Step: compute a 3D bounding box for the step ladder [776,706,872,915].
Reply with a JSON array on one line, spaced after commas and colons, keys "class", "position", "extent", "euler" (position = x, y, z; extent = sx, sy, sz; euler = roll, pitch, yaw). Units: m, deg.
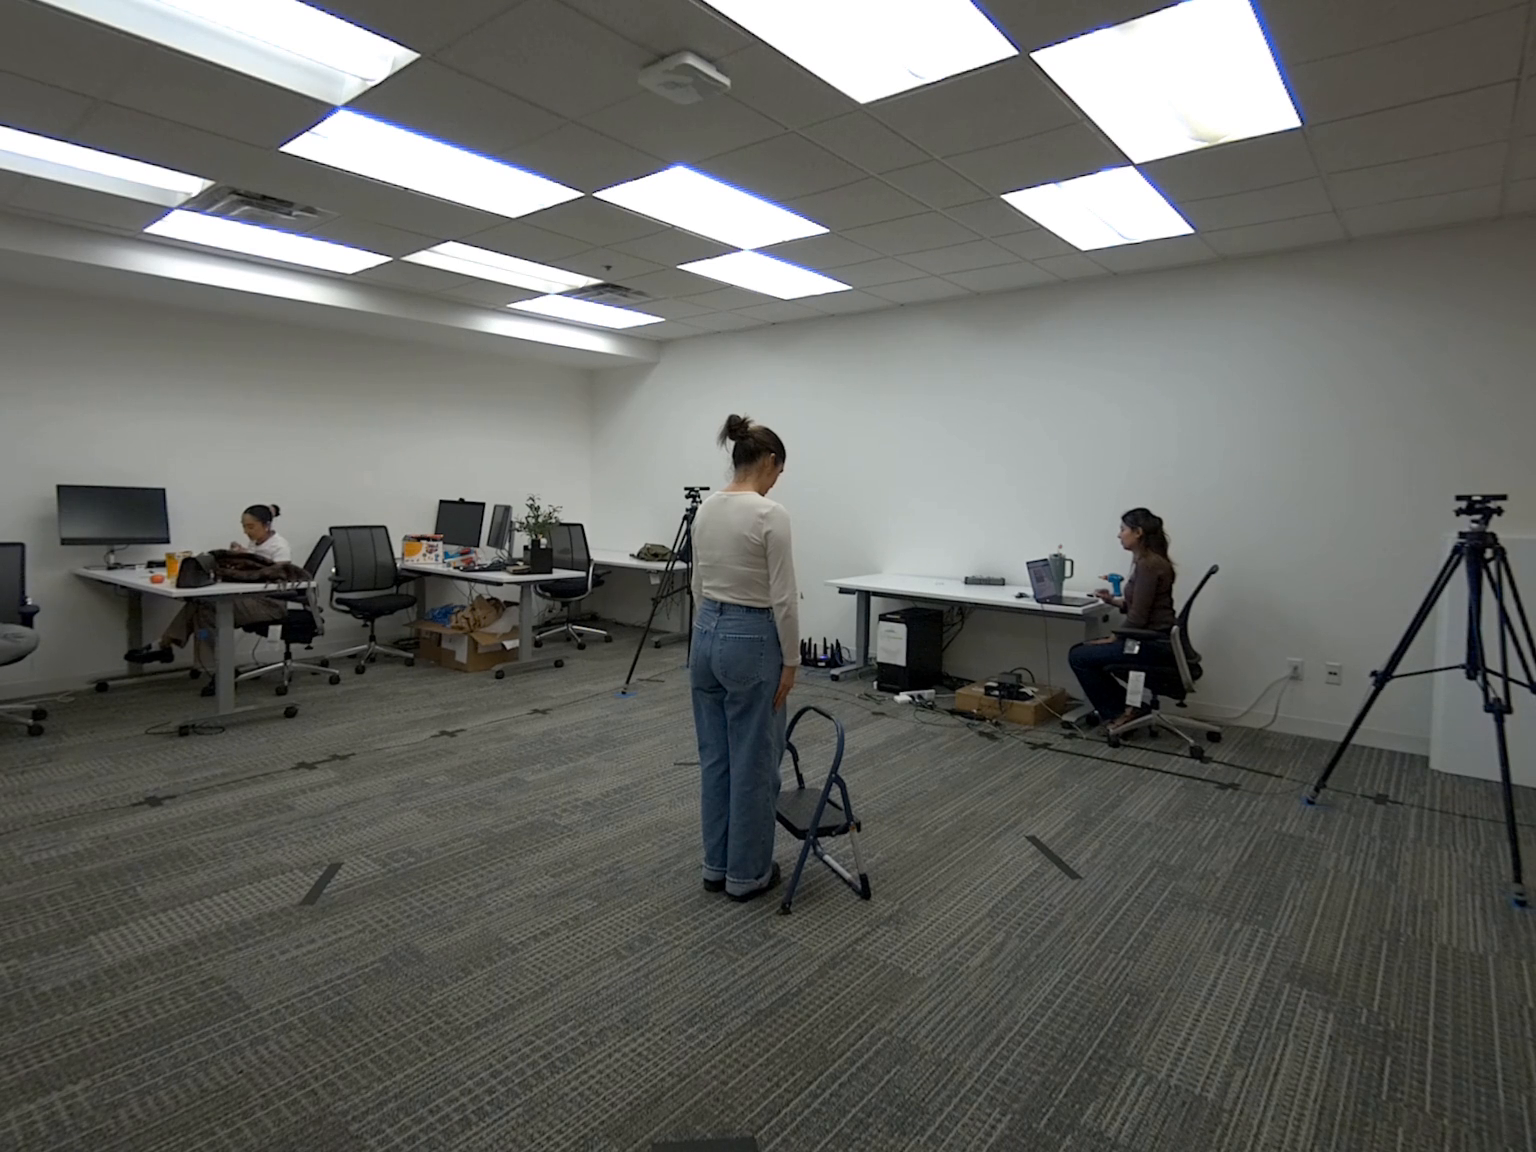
[{"class": "step ladder", "position": [0.119, 0.779, 3.011], "extent": [0.342, 0.604, 0.441], "euler": [0, 4, -22]}]
